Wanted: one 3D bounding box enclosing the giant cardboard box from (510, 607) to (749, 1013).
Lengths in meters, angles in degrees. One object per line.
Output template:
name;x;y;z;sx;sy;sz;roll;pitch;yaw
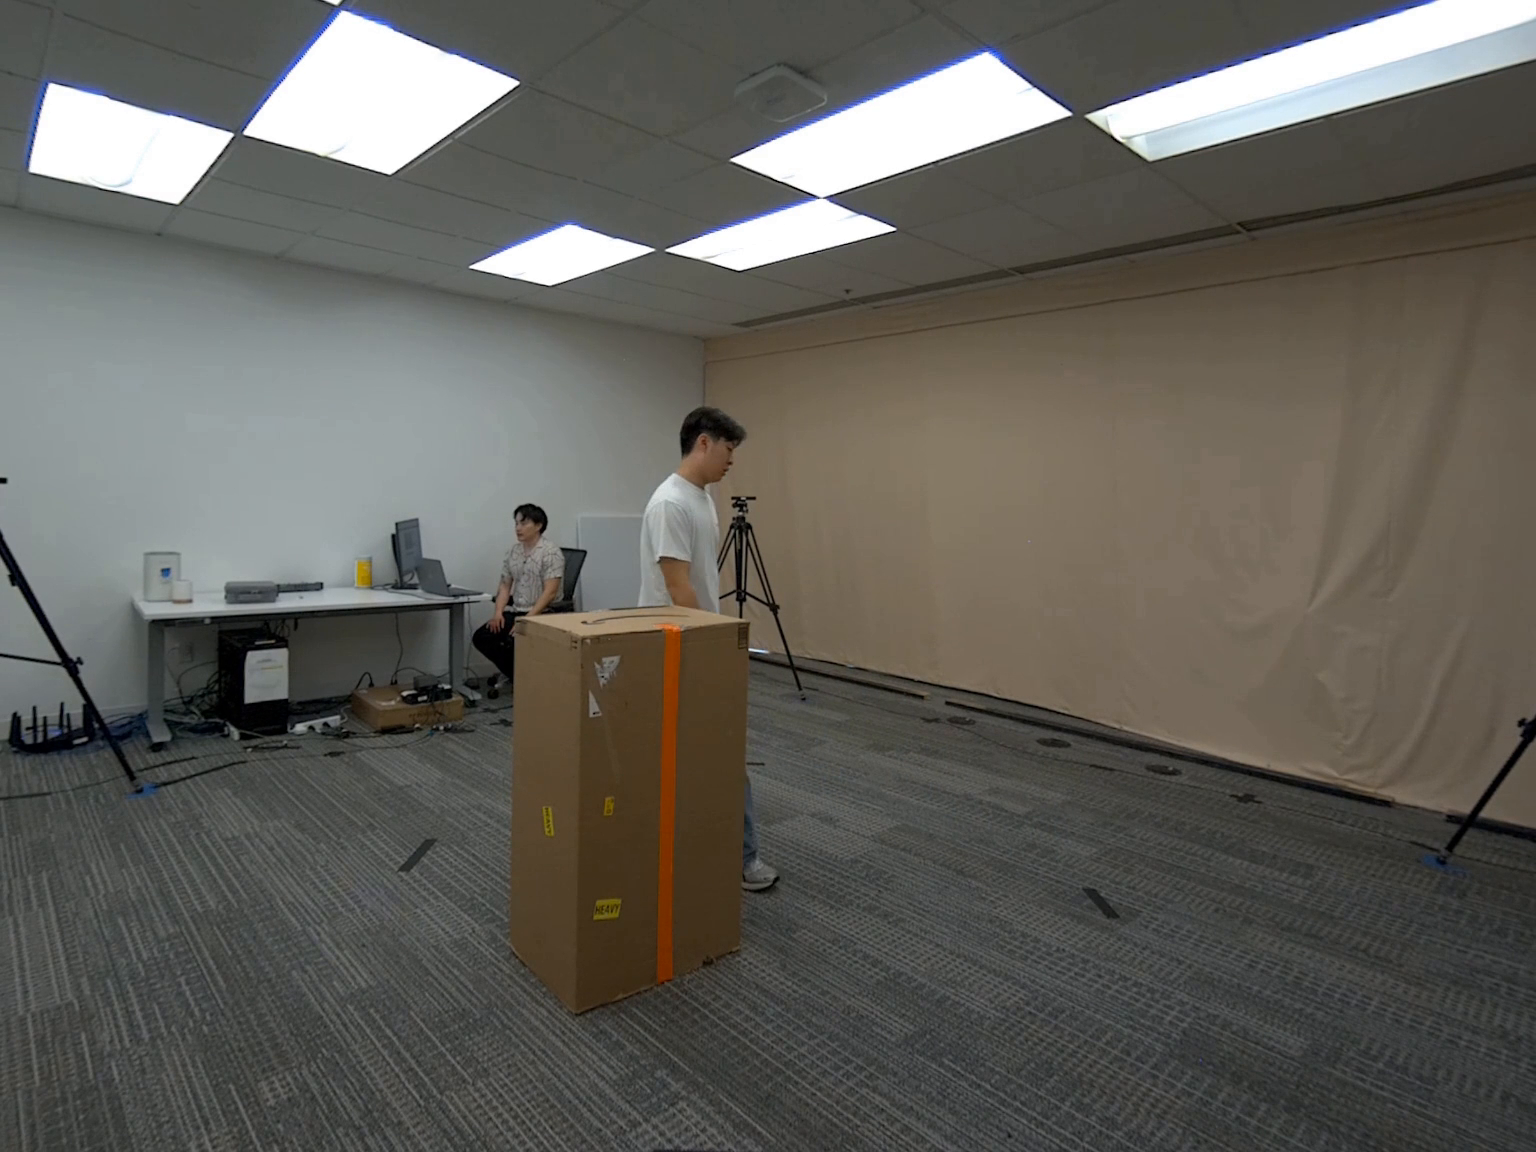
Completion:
giant cardboard box;-0.424;0.642;2.552;0.564;1.023;0.437;-1;4;-39
